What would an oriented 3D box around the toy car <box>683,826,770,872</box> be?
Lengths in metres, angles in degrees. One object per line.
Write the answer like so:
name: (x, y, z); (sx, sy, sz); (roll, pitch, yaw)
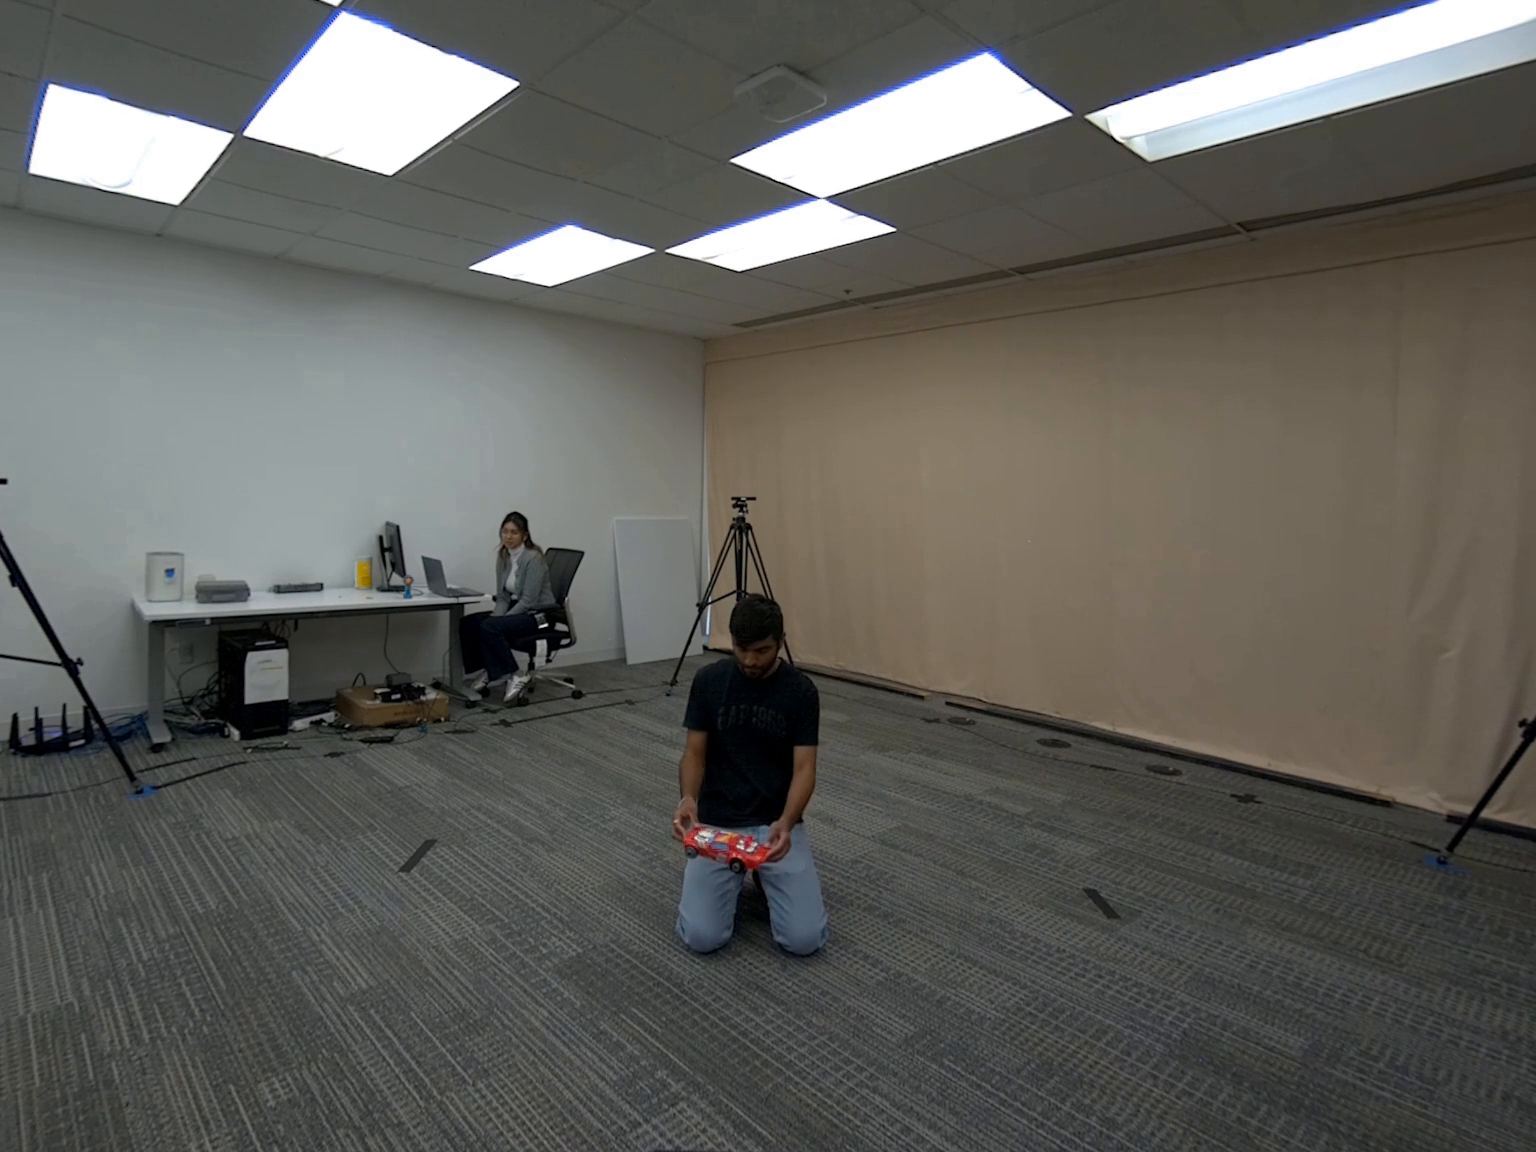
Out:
toy car: (-0.124, 0.810, 2.471); (0.258, 0.082, 0.129); (0, 10, 20)
